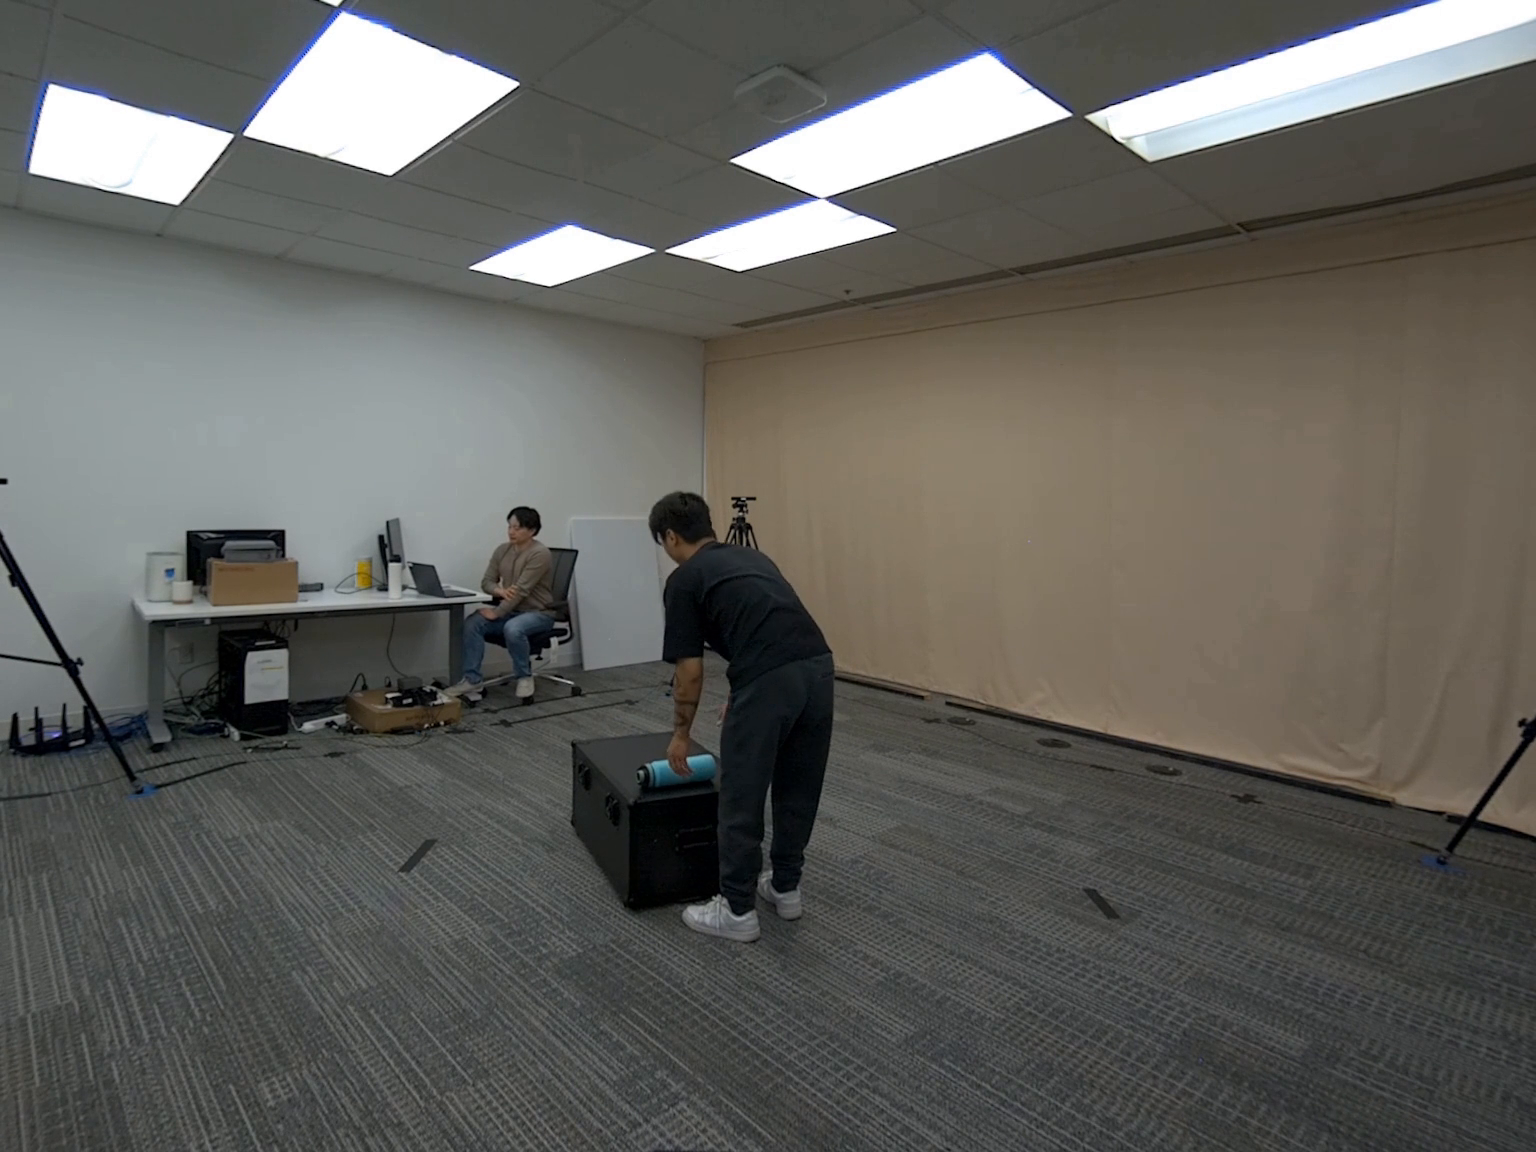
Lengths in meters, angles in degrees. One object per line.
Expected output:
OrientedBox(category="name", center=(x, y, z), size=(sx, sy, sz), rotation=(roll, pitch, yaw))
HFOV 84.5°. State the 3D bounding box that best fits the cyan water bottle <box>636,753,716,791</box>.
OrientedBox(category="cyan water bottle", center=(-0.333, 0.694, 2.976), size=(0.278, 0.092, 0.094), rotation=(-2, 5, -25))
